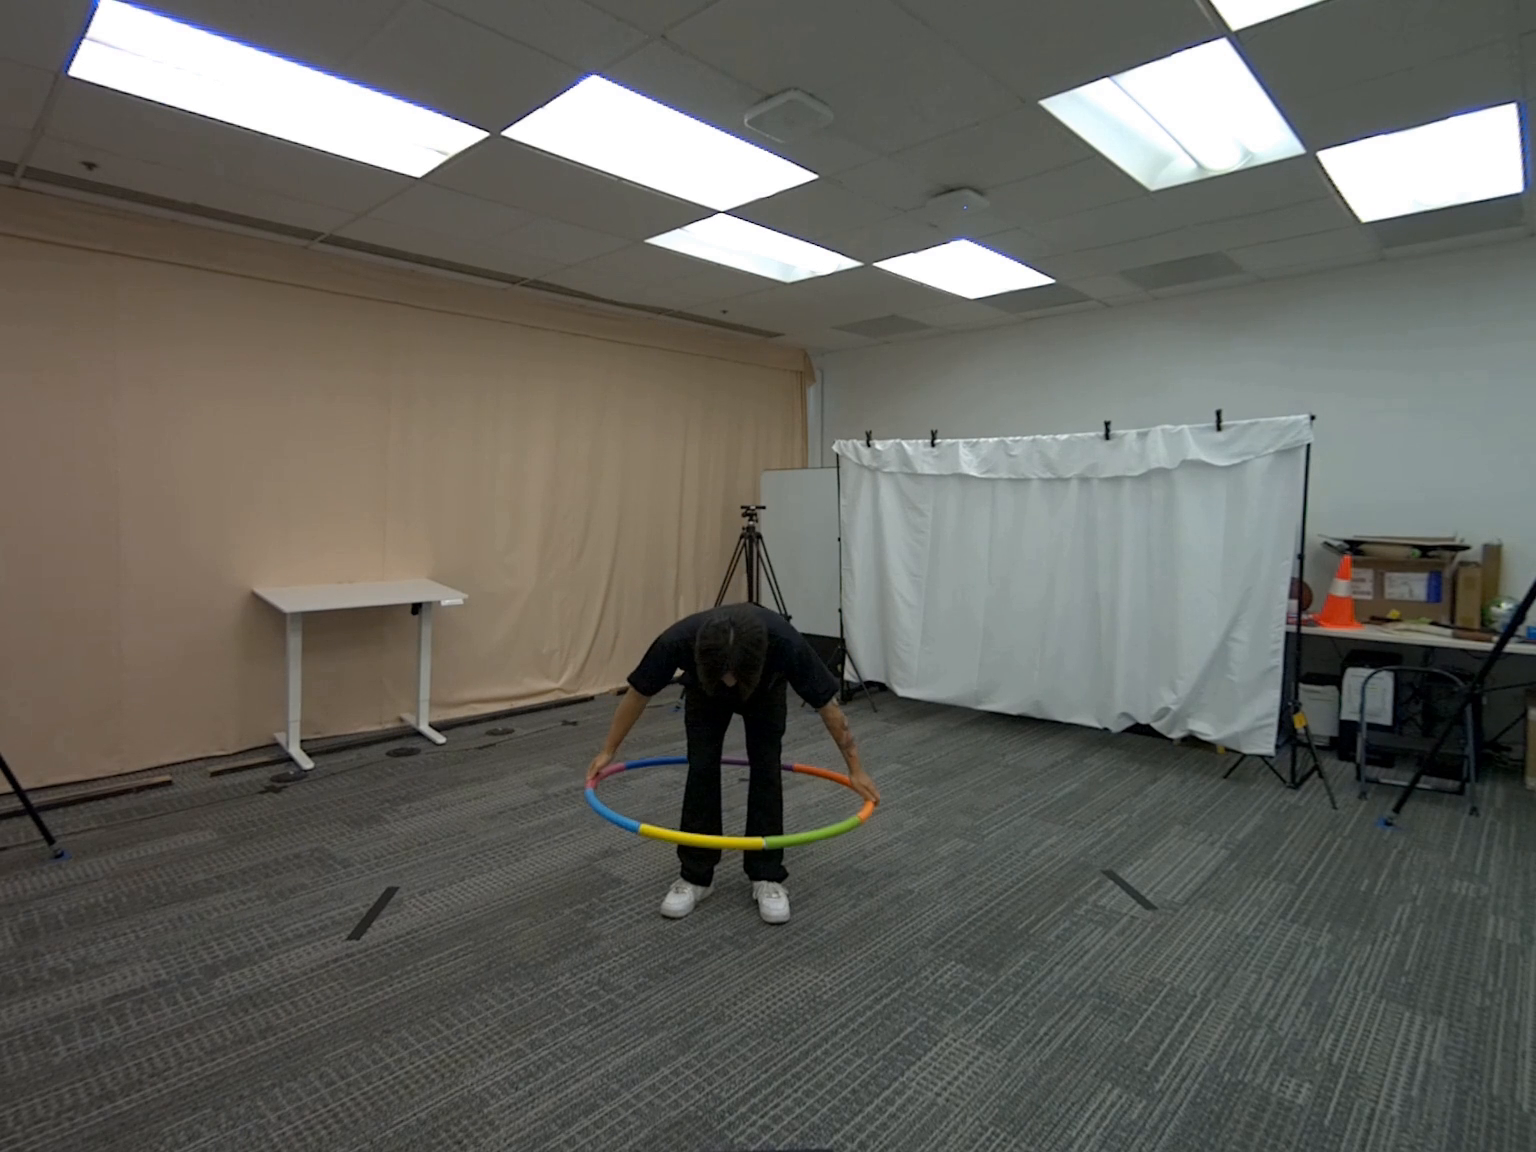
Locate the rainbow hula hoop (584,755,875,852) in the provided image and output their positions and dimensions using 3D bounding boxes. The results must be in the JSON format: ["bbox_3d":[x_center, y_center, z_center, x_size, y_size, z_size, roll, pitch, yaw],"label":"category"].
[{"bbox_3d":[-0.123,0.734,2.893,0.978,0.035,0.980,2,1,-2],"label":"rainbow hula hoop"}]
